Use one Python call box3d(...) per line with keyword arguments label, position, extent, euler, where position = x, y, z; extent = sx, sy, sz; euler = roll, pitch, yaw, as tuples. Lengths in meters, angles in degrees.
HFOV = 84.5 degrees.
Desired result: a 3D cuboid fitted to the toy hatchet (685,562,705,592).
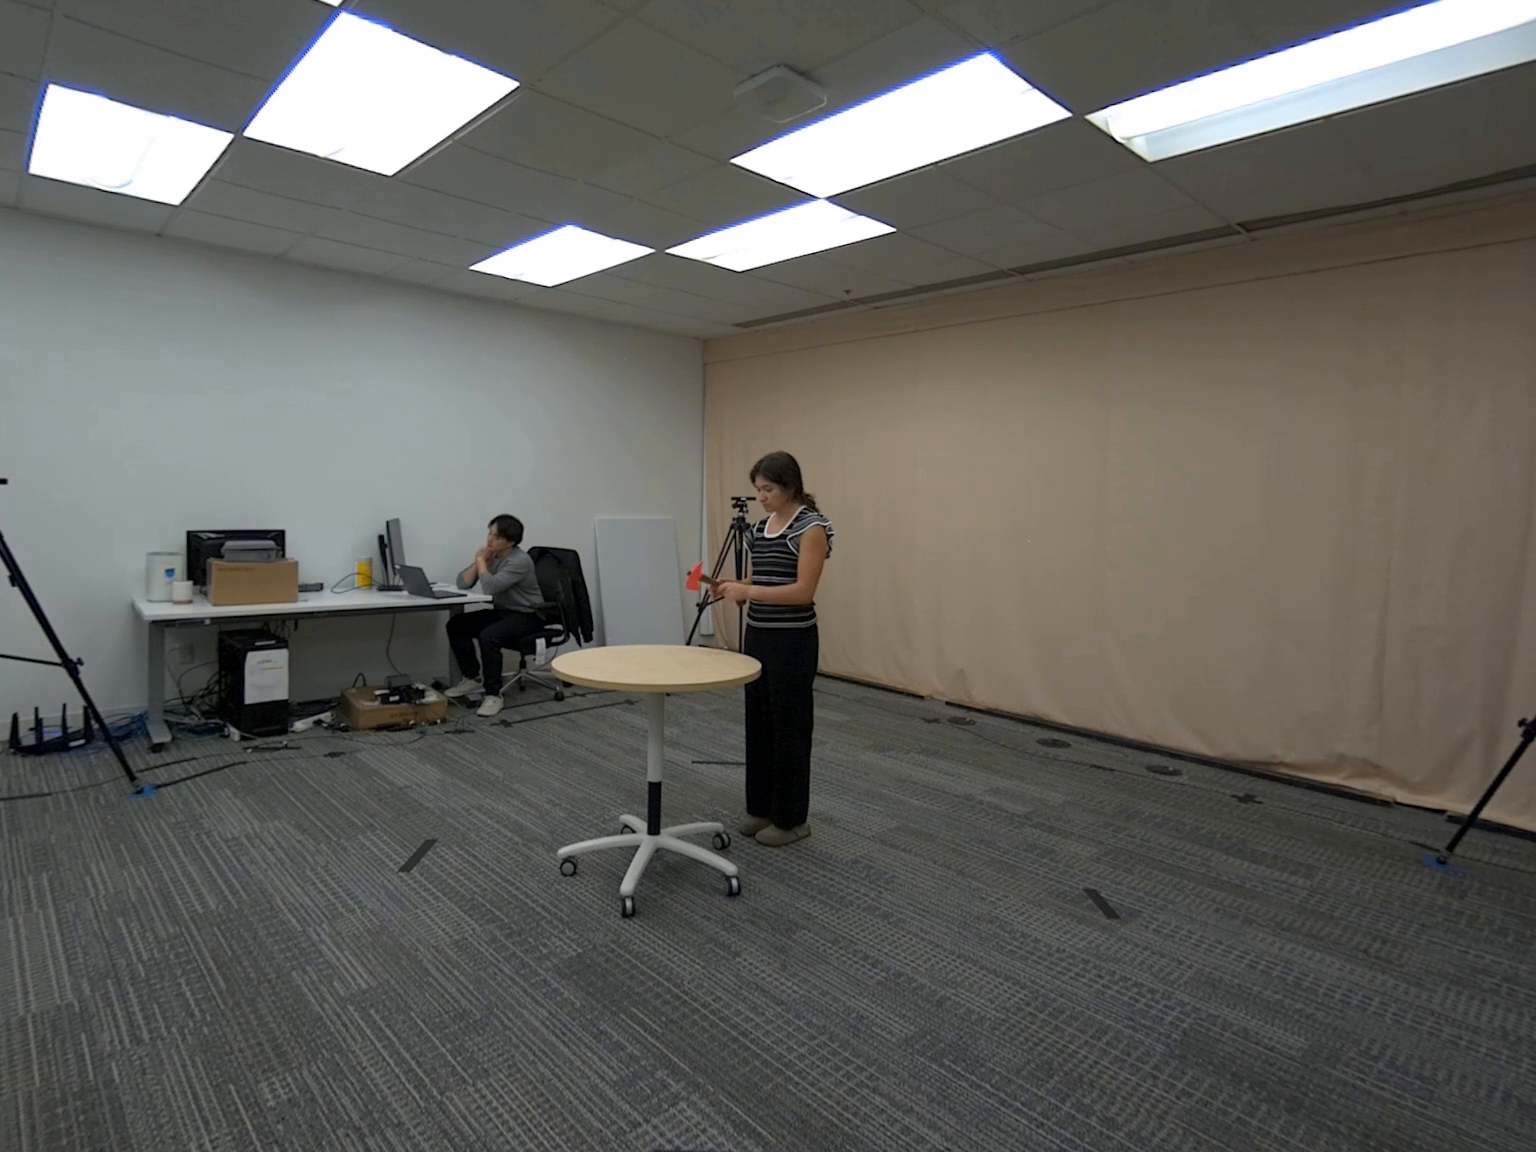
box3d(label="toy hatchet", position=(-0.223, 0.057, 3.323), extent=(0.264, 0.131, 0.030), euler=(42, 14, -24))
